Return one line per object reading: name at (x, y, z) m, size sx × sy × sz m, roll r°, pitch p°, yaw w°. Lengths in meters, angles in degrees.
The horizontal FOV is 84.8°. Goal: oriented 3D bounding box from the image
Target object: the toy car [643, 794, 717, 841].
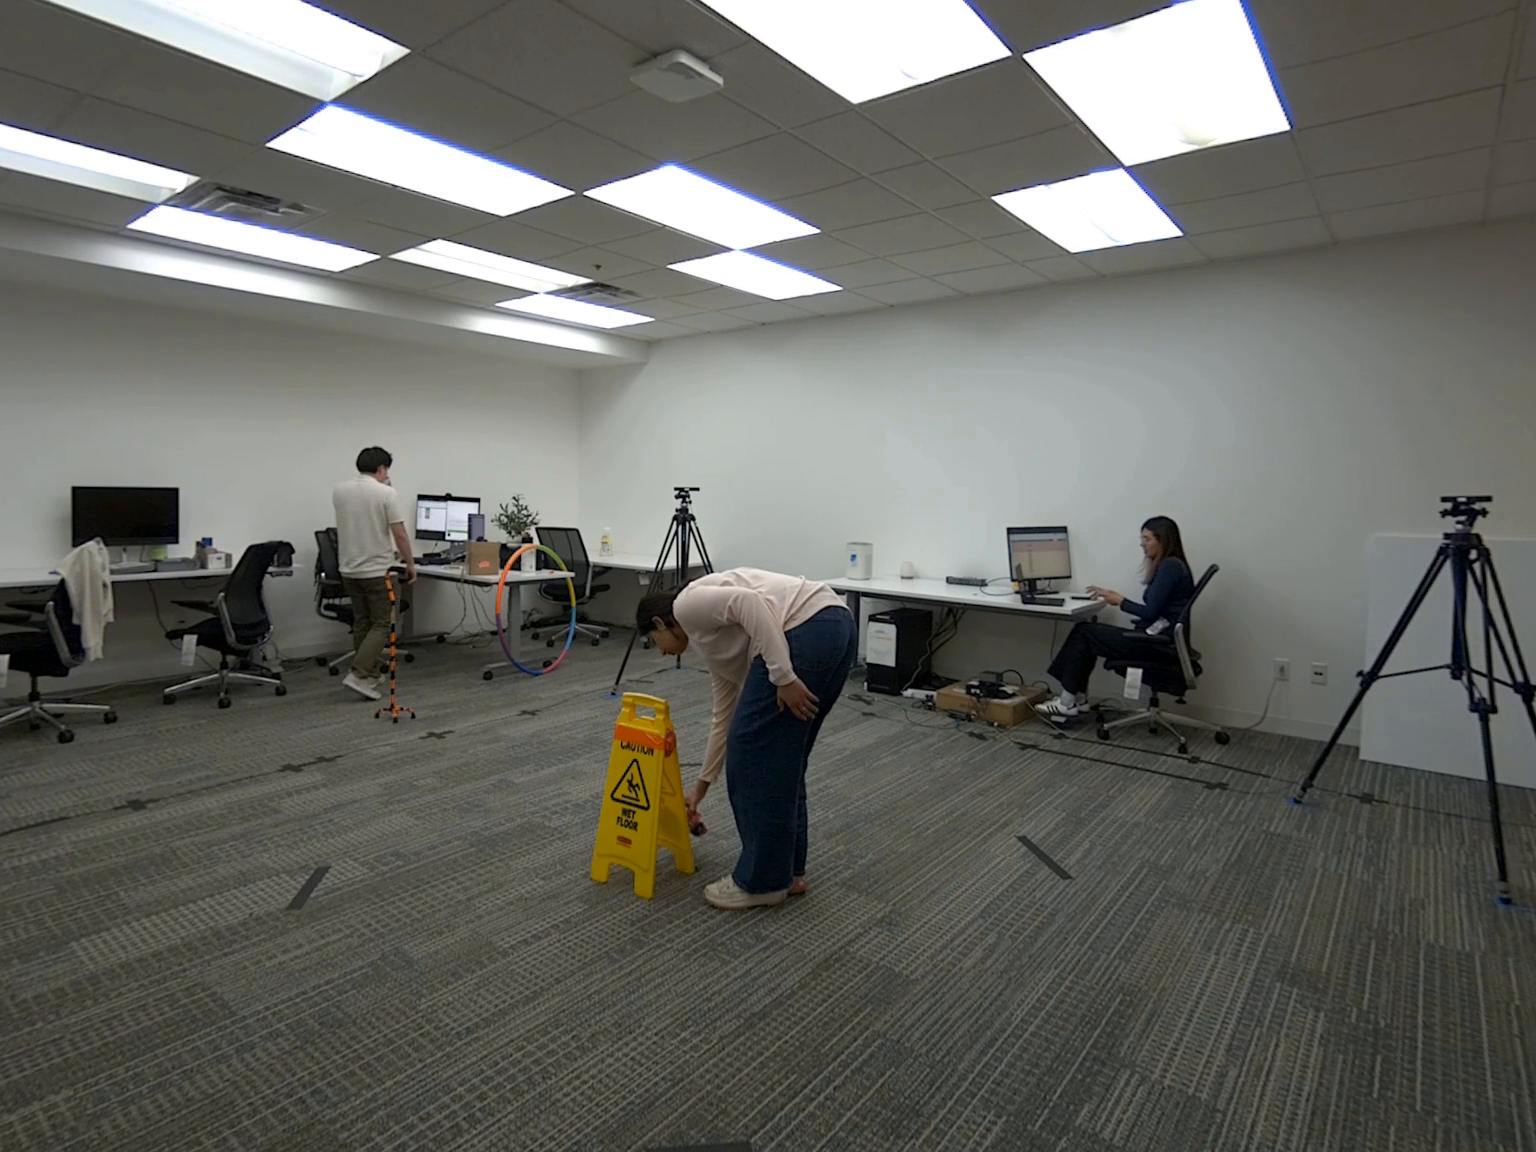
toy car at (-0.332, 0.912, 3.174) m, size 0.134 × 0.084 × 0.244 m, roll 2°, pitch -26°, yaw 38°
